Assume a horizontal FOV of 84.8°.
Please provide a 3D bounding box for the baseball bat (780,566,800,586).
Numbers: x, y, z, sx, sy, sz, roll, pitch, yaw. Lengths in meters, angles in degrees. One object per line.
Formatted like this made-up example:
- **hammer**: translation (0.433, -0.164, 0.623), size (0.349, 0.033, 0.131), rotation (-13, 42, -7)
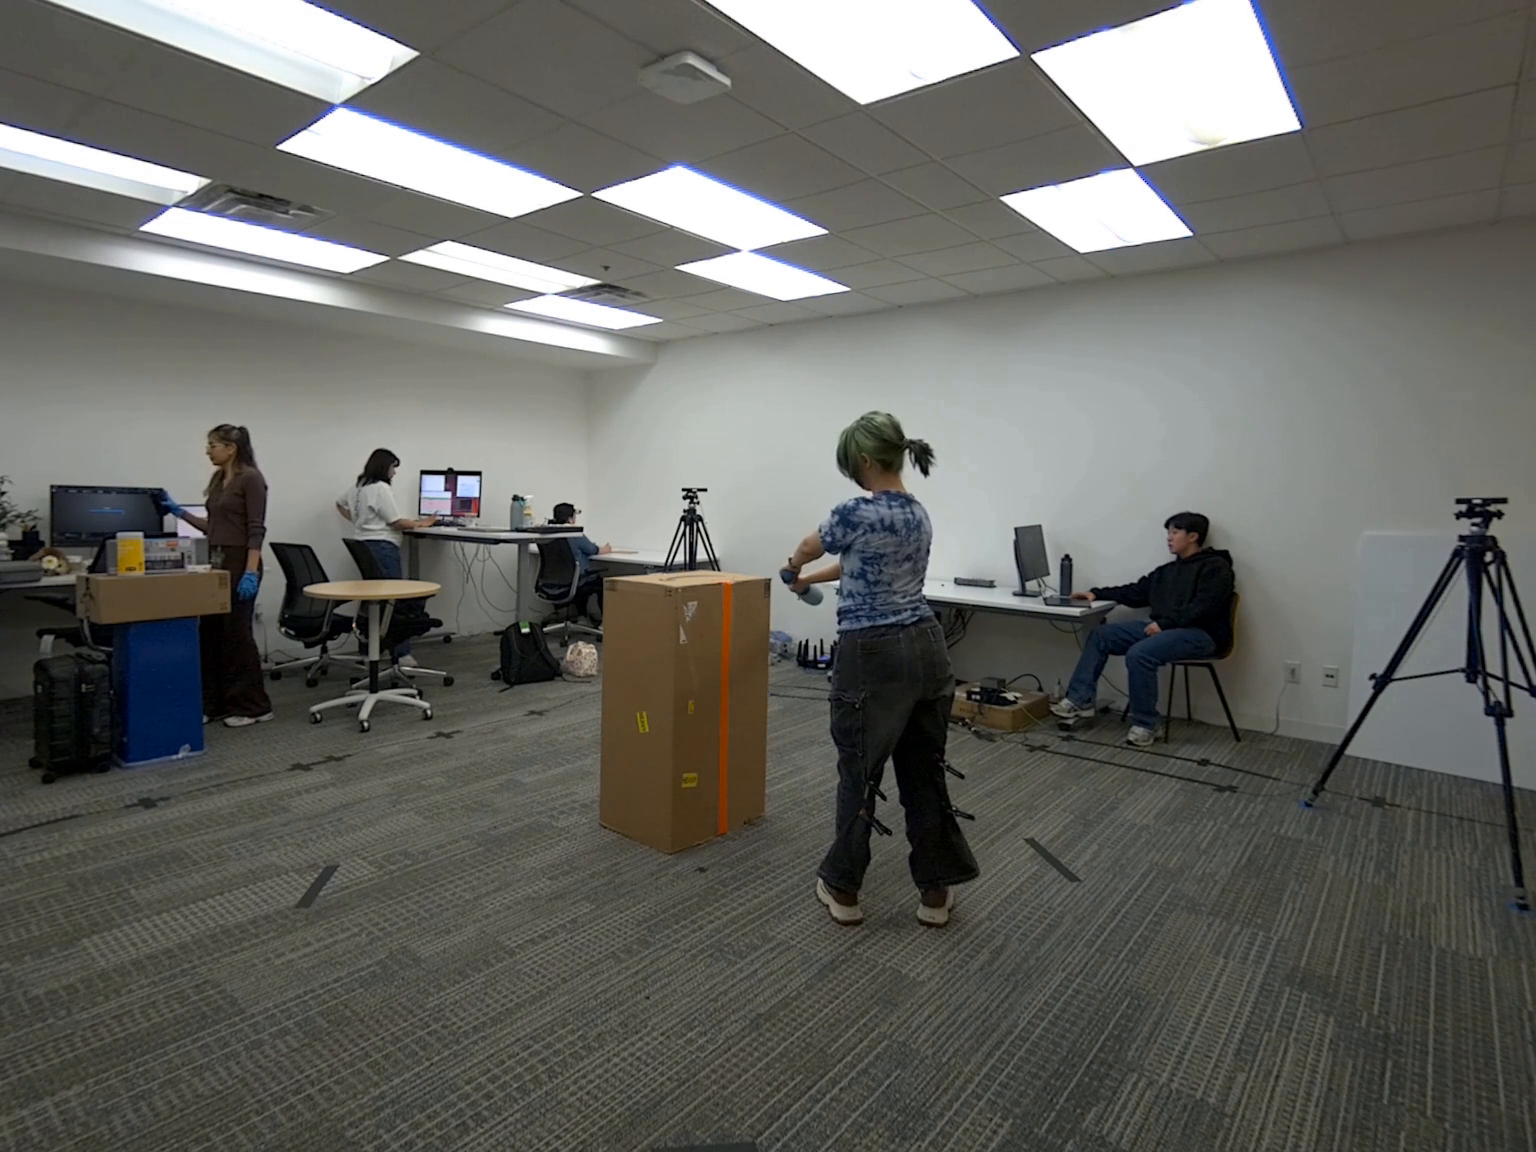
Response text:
- **baseball bat**: translation (0.141, 0.041, 3.421), size (0.090, 0.090, 0.530), rotation (2, -8, 12)
